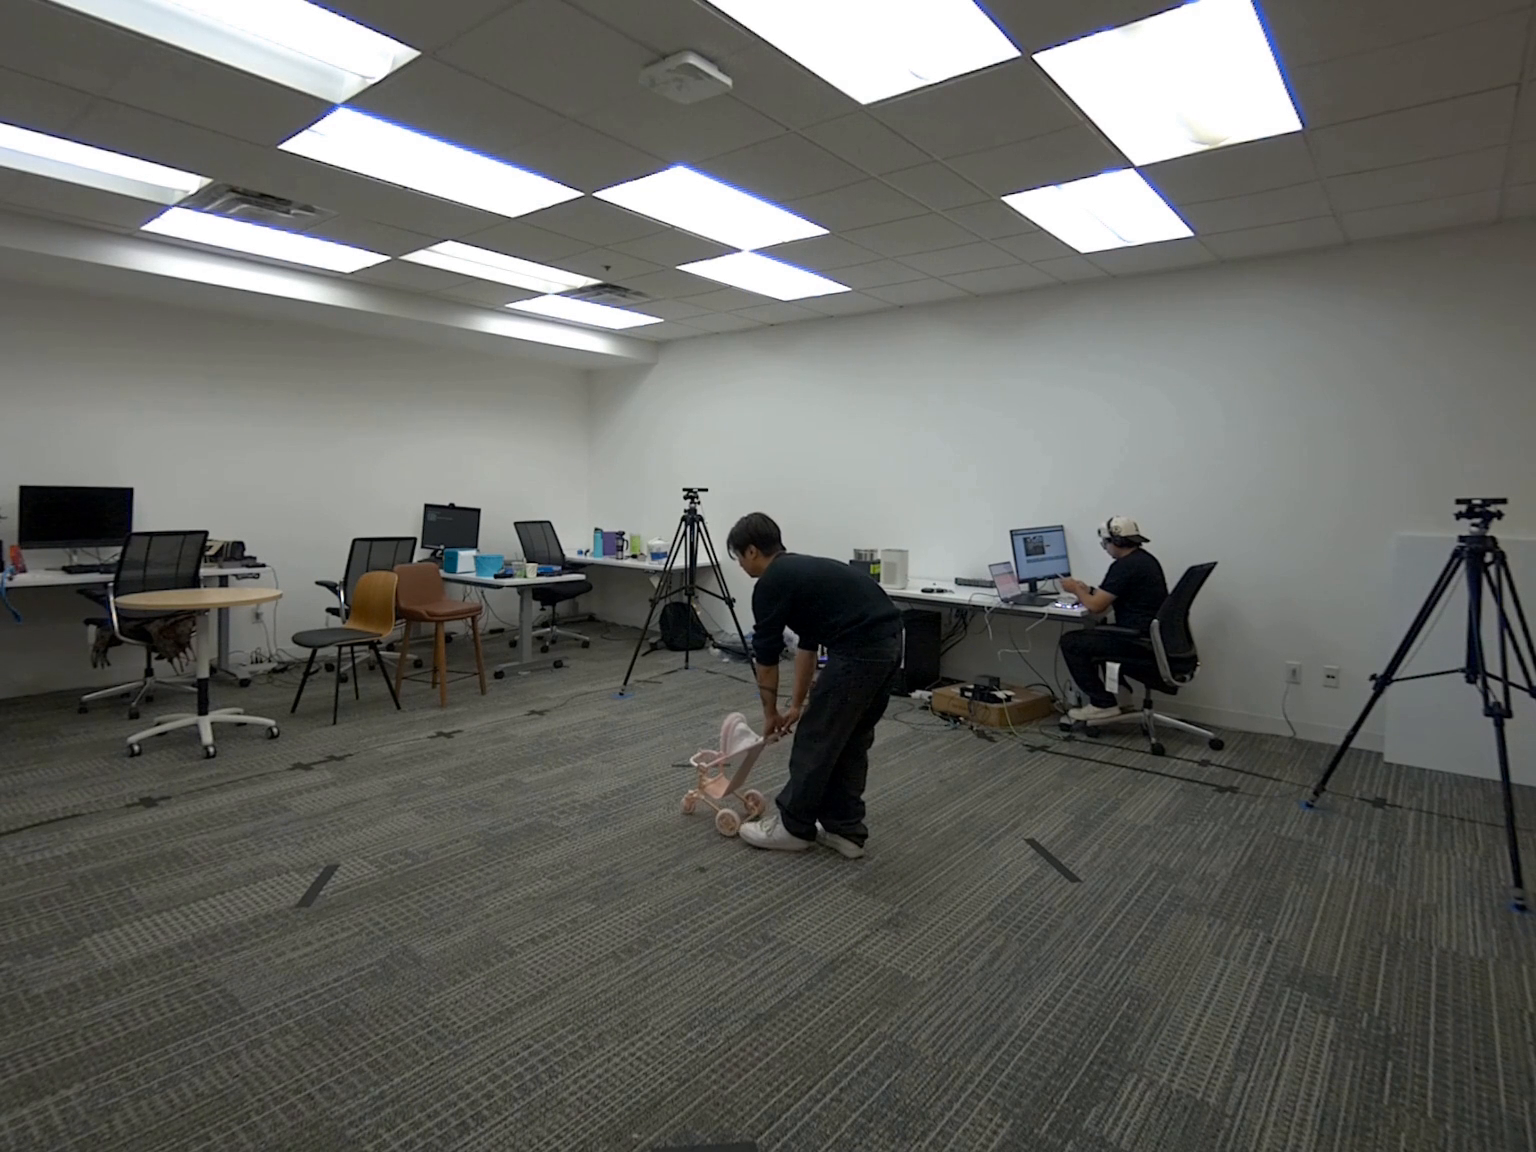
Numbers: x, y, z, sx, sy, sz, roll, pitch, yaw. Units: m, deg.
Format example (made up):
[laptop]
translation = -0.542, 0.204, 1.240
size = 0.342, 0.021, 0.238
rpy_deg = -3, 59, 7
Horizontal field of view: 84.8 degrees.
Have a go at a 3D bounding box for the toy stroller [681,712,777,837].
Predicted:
[toy stroller]
translation = -0.177, 0.804, 3.552
size = 0.353, 0.531, 0.274
rpy_deg = 21, 12, 28
